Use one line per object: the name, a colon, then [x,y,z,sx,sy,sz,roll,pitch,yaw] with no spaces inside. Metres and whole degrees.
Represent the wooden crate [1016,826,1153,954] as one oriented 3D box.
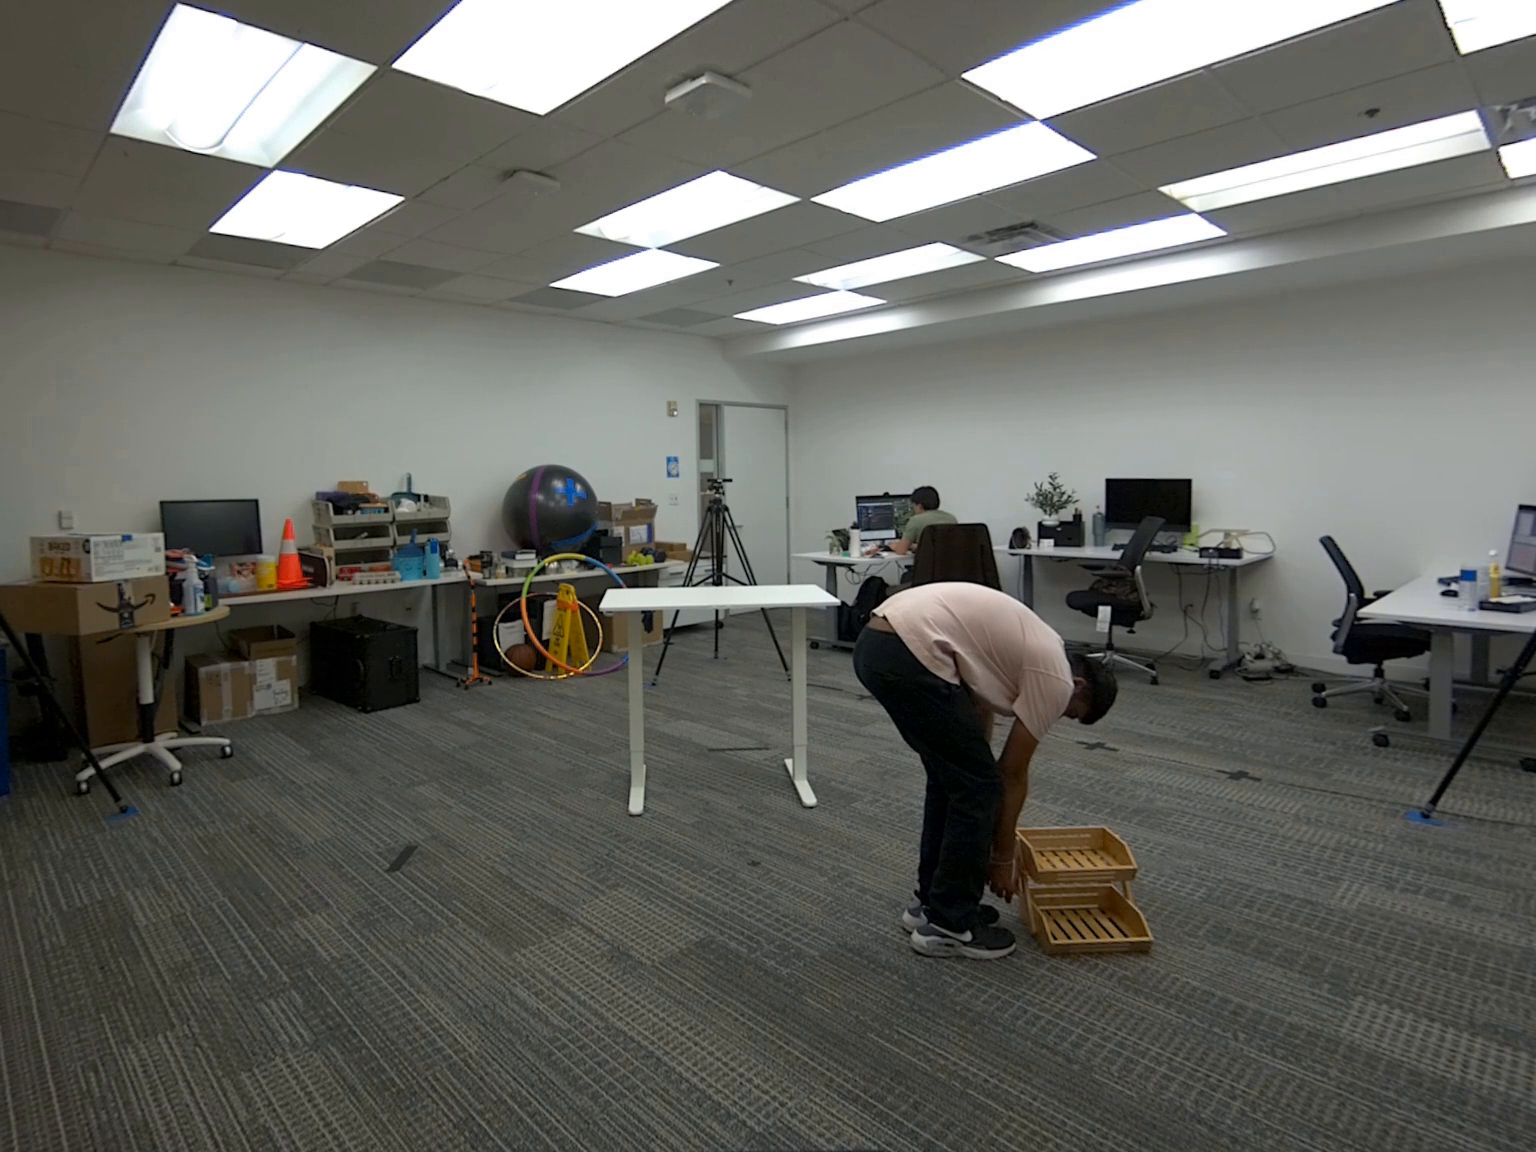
wooden crate: [0.958,0.954,2.602,0.324,0.272,0.304,-2,5,-3]
